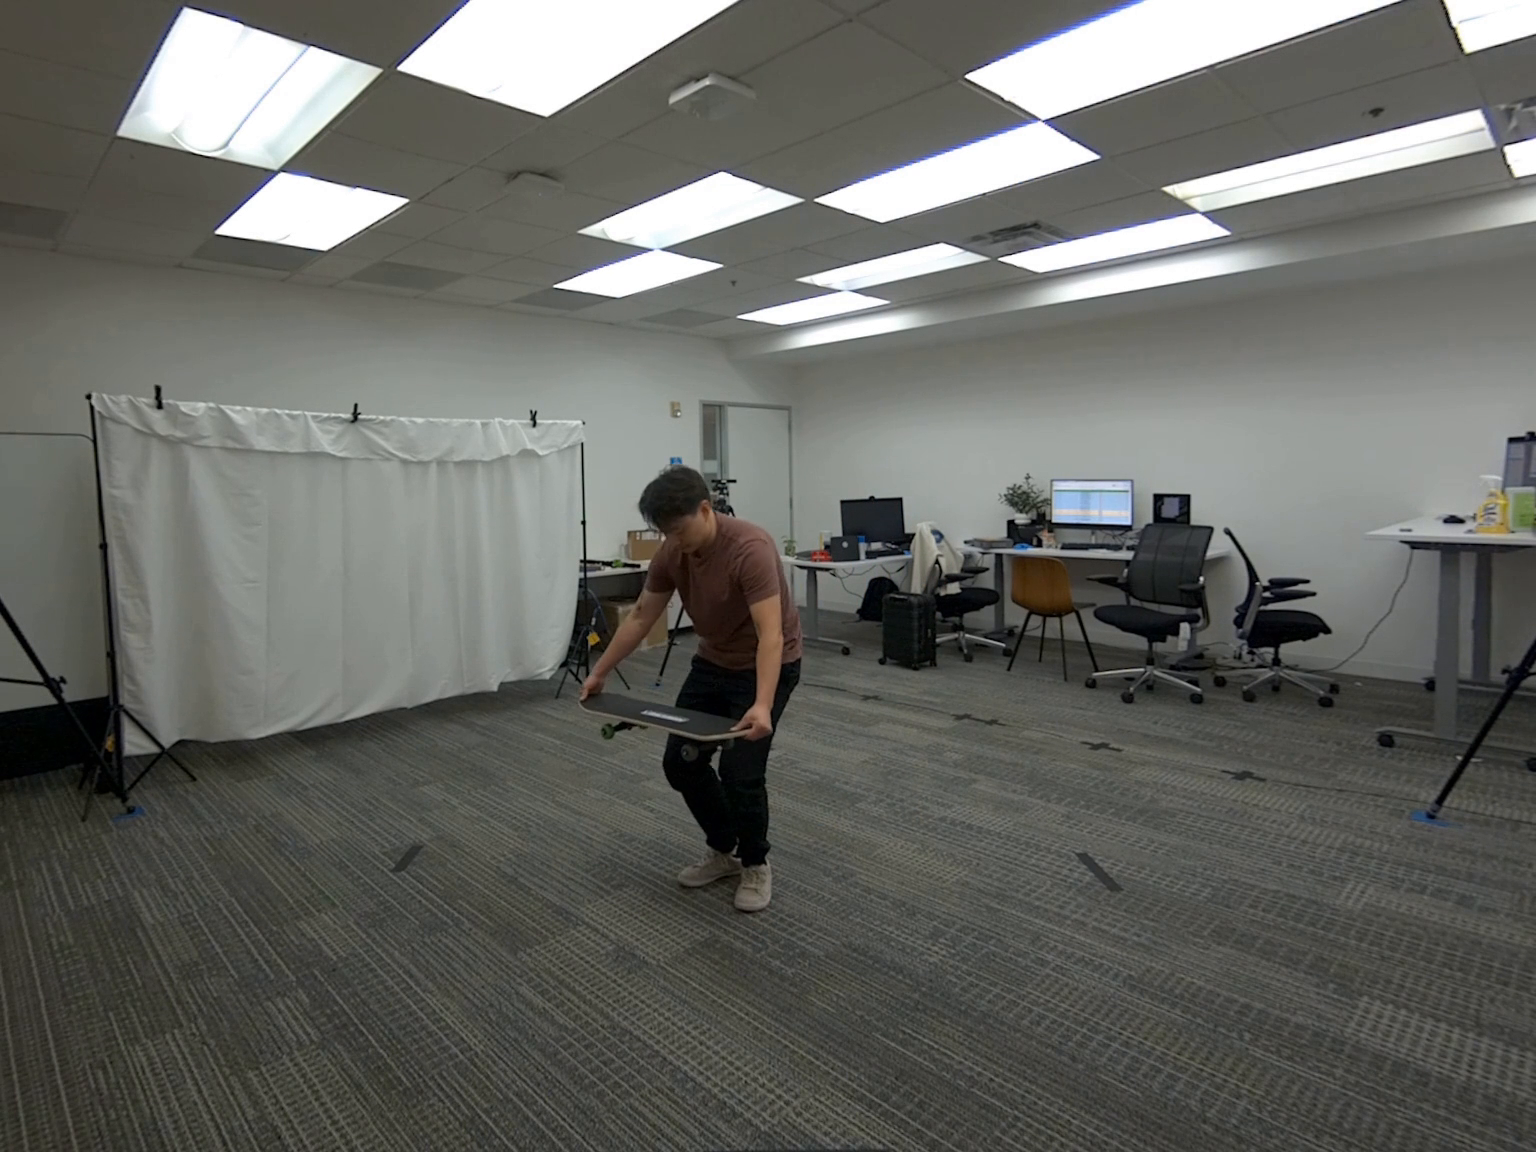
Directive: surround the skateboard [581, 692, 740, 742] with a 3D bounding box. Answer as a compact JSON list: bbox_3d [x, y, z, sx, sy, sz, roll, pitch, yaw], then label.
[{"bbox_3d":[-0.326,0.485,2.697,0.809,0.110,0.189,2,9,43],"label":"skateboard"}]
